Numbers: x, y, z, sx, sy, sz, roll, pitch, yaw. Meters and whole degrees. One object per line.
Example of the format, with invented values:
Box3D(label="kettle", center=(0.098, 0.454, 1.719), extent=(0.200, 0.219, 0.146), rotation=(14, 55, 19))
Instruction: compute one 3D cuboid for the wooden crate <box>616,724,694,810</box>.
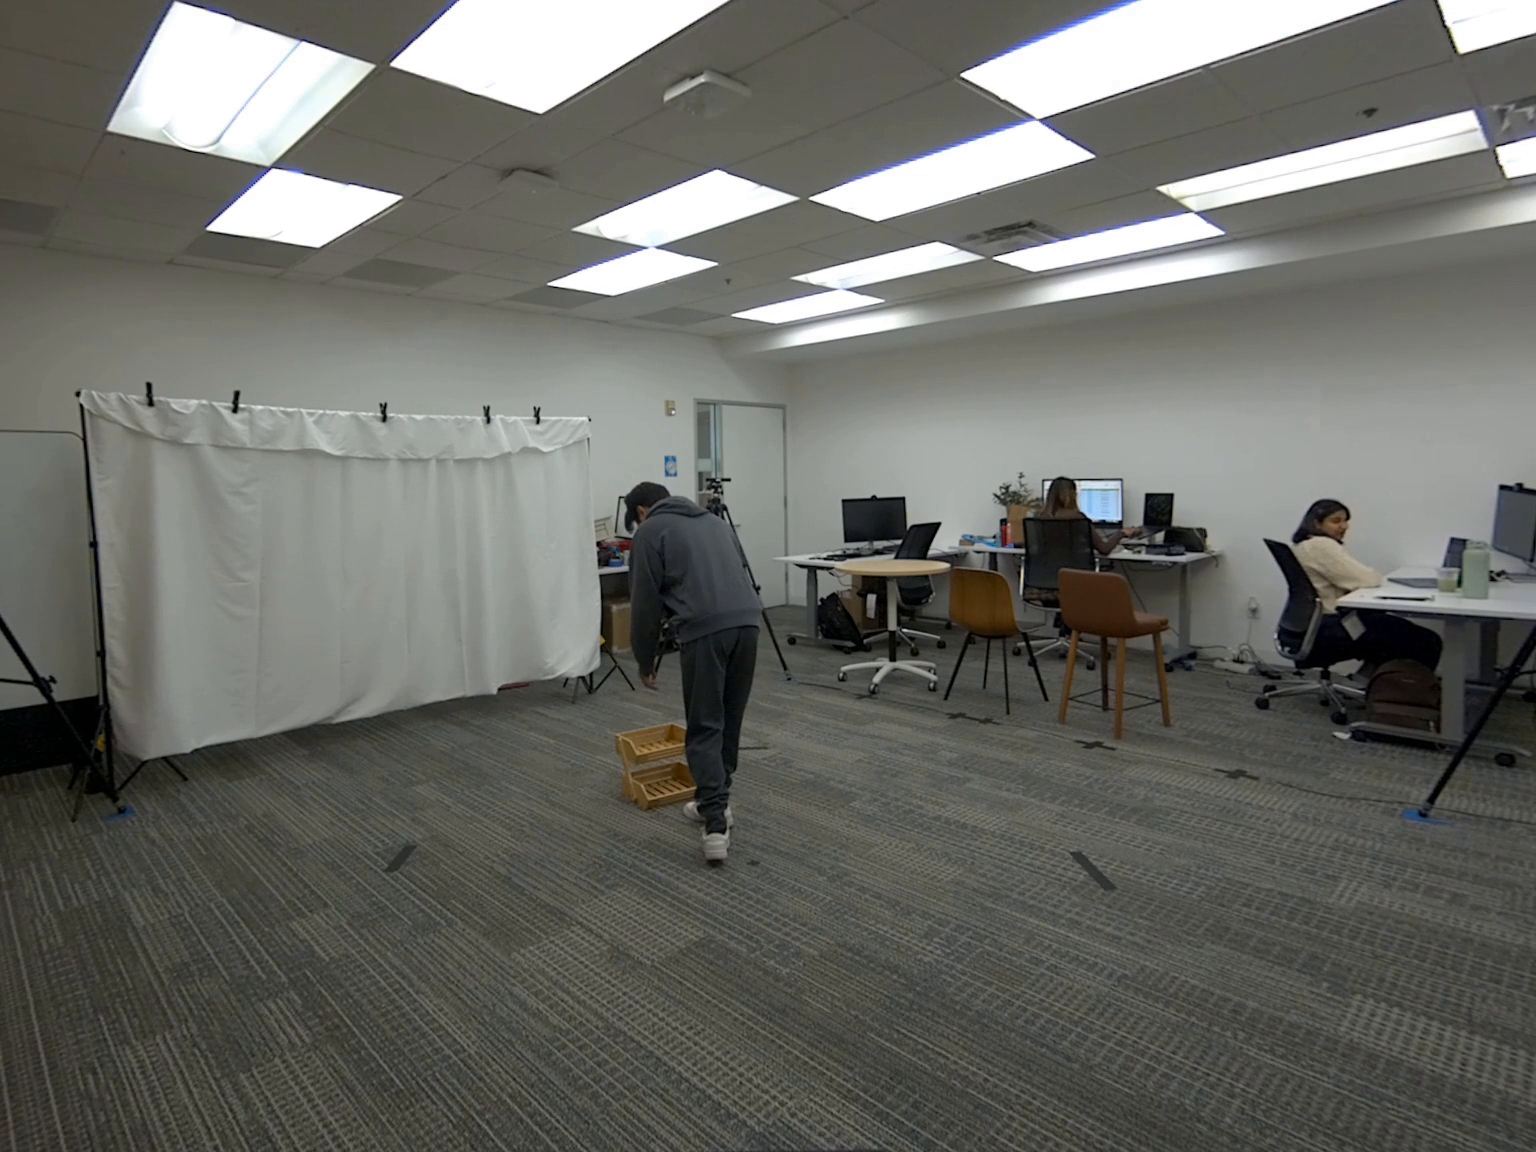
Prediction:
Box3D(label="wooden crate", center=(-0.477, 0.836, 3.818), extent=(0.316, 0.272, 0.311), rotation=(-4, 6, -35))
